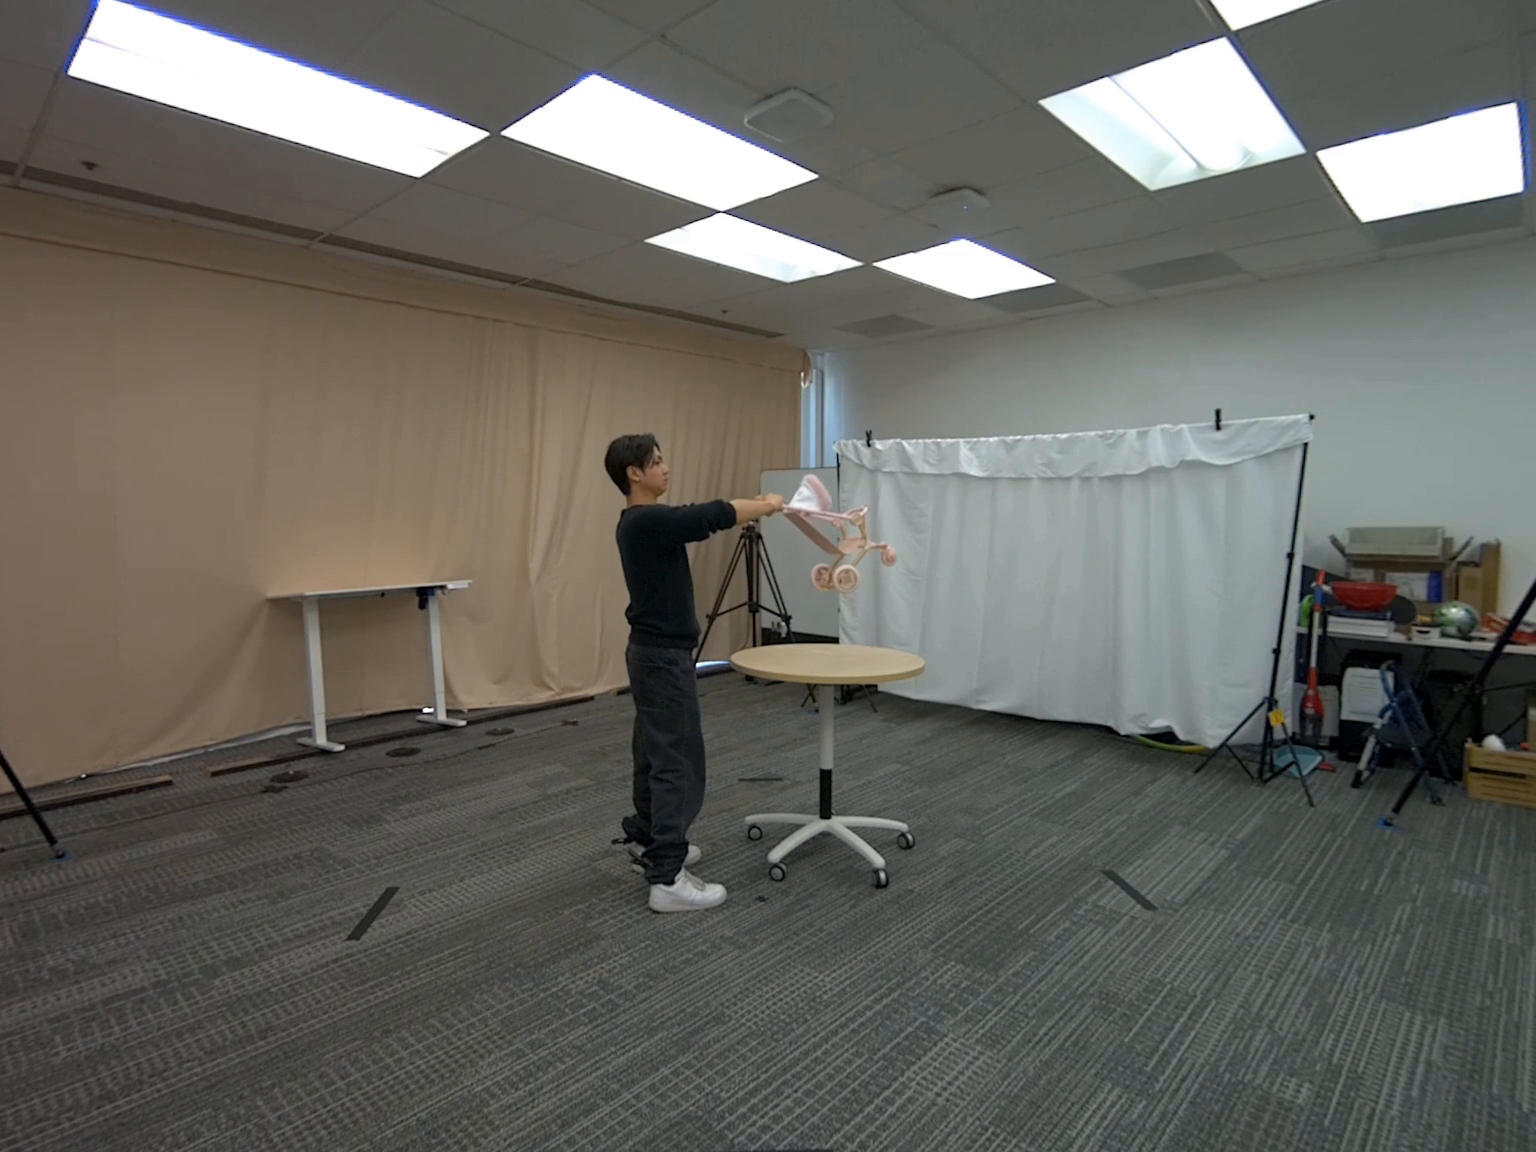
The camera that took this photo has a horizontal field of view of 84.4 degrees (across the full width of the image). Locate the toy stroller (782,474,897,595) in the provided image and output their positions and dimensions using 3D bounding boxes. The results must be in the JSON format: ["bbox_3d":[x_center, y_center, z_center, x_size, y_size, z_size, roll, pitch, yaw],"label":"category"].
[{"bbox_3d":[0.259,-0.177,3.312,0.340,0.530,0.285,-37,8,-7],"label":"toy stroller"}]
